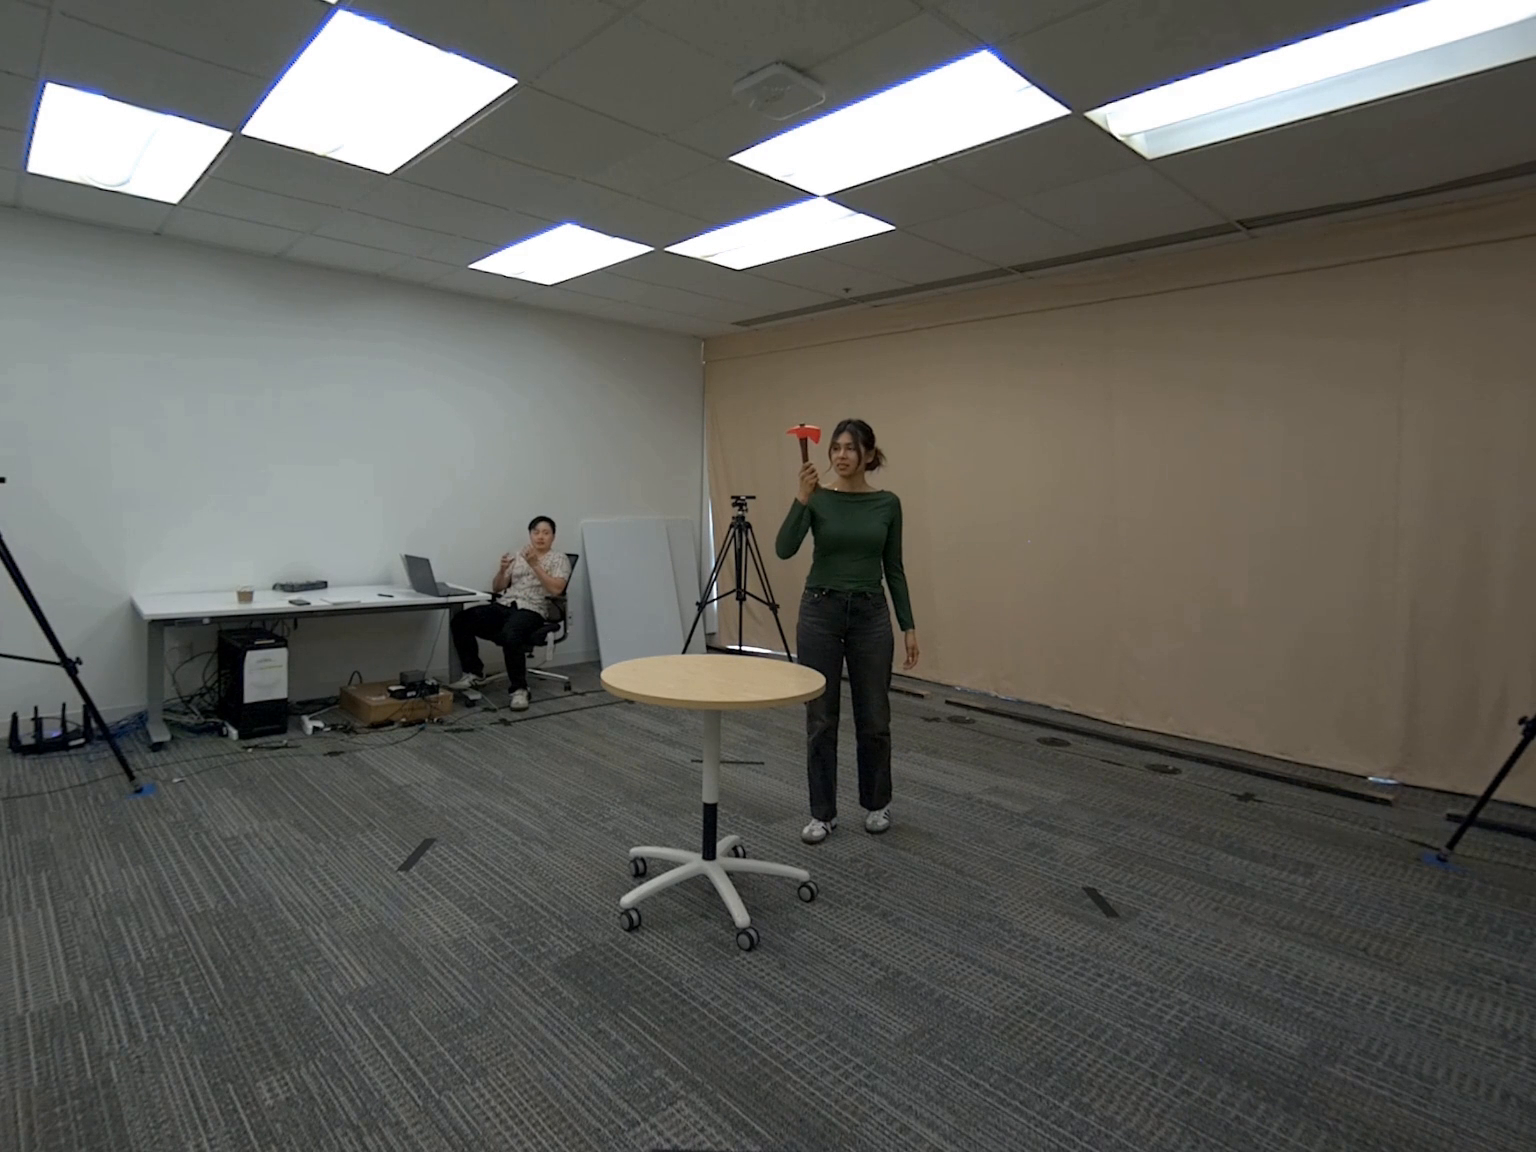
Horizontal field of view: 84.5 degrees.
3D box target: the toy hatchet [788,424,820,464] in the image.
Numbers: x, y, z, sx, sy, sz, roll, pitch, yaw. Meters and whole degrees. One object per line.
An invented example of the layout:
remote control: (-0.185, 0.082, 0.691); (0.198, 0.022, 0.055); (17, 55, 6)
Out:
toy hatchet: (0.163, -0.452, 3.169); (0.132, 0.266, 0.029); (-18, 14, 22)
